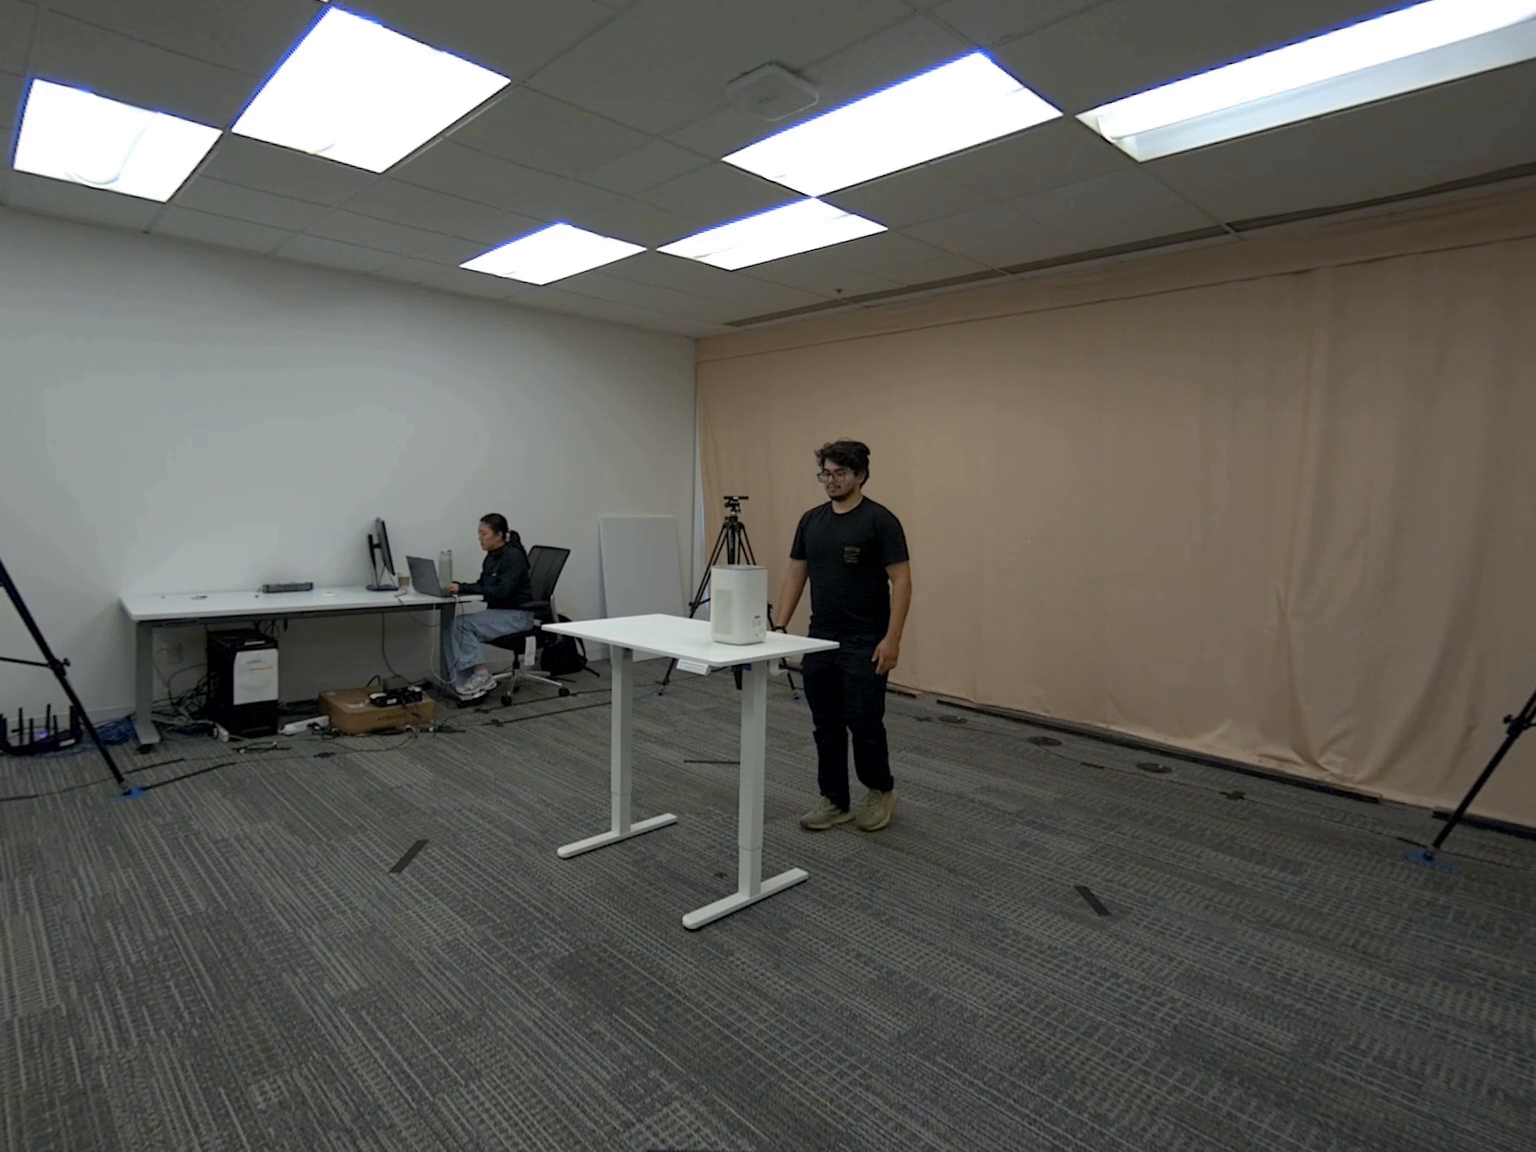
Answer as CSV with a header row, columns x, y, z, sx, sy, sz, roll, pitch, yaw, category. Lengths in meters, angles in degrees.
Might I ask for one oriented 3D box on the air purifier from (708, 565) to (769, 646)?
x,y,z,sx,sy,sz,roll,pitch,yaw,category
-0.104,0.100,2.954,0.176,0.265,0.167,3,3,39,air purifier
